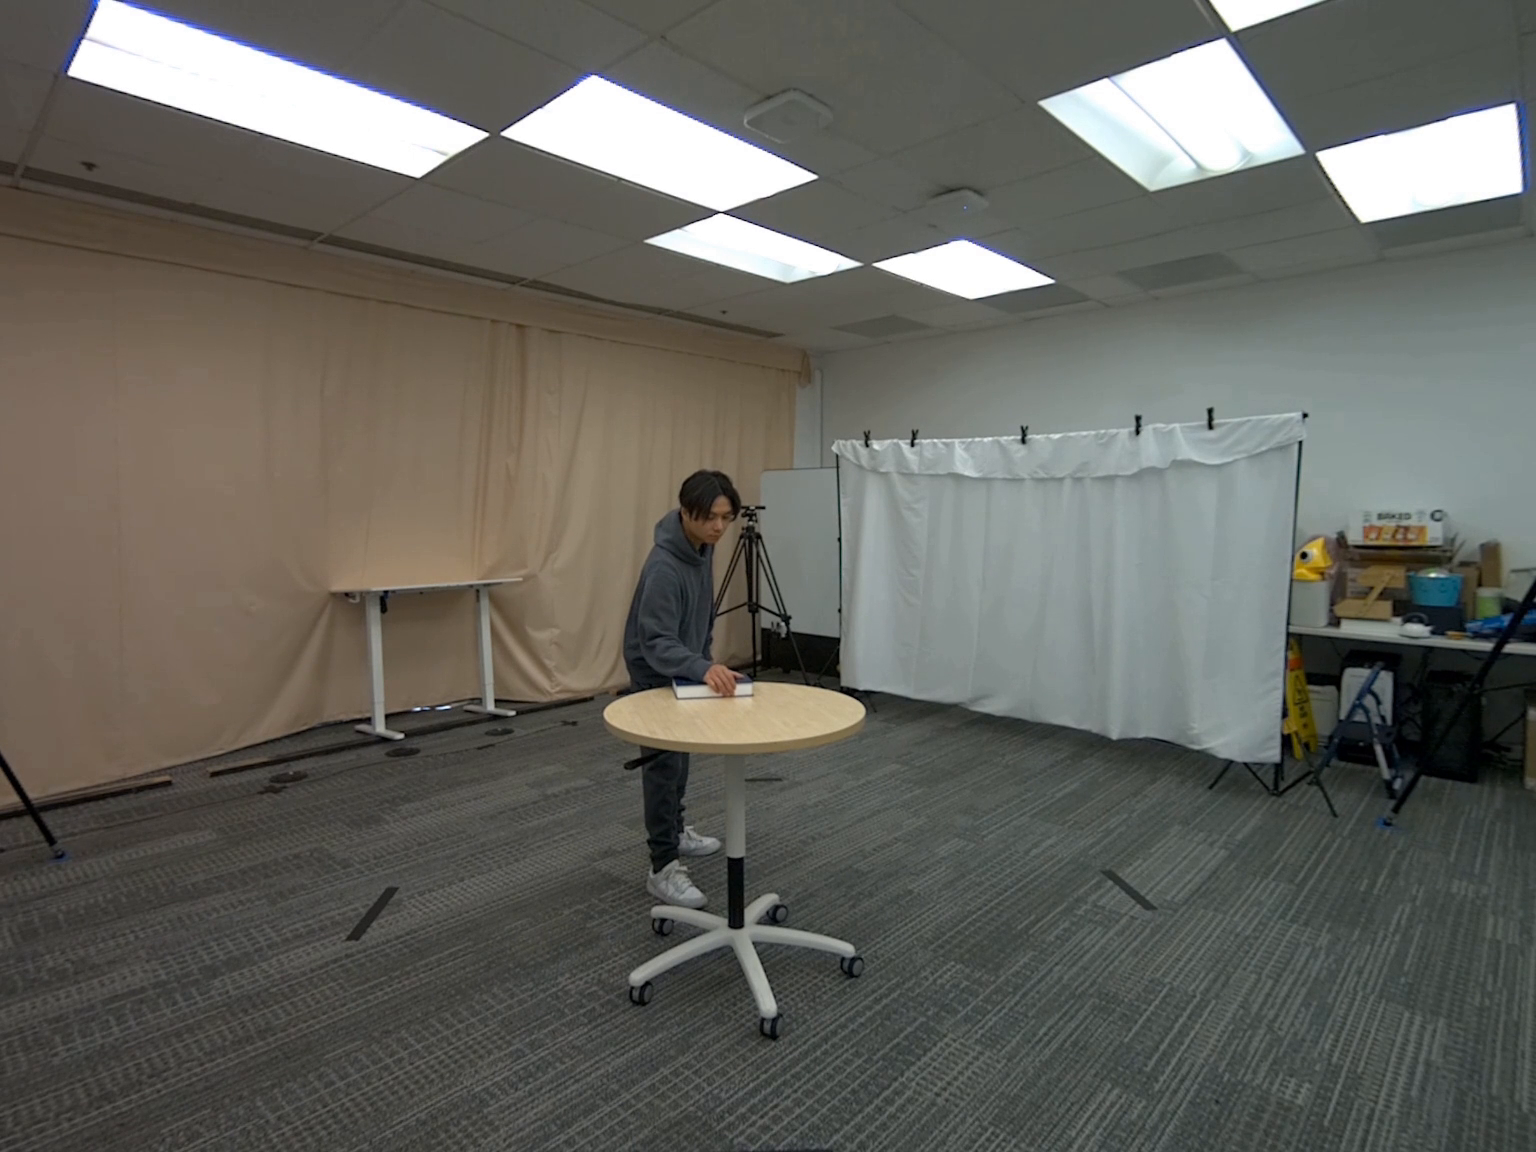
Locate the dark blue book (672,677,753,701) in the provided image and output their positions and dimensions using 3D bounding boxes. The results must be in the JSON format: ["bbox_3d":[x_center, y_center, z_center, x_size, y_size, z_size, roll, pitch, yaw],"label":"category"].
[{"bbox_3d":[-0.175,0.354,2.698,0.243,0.045,0.165,-3,4,-10],"label":"dark blue book"}]
